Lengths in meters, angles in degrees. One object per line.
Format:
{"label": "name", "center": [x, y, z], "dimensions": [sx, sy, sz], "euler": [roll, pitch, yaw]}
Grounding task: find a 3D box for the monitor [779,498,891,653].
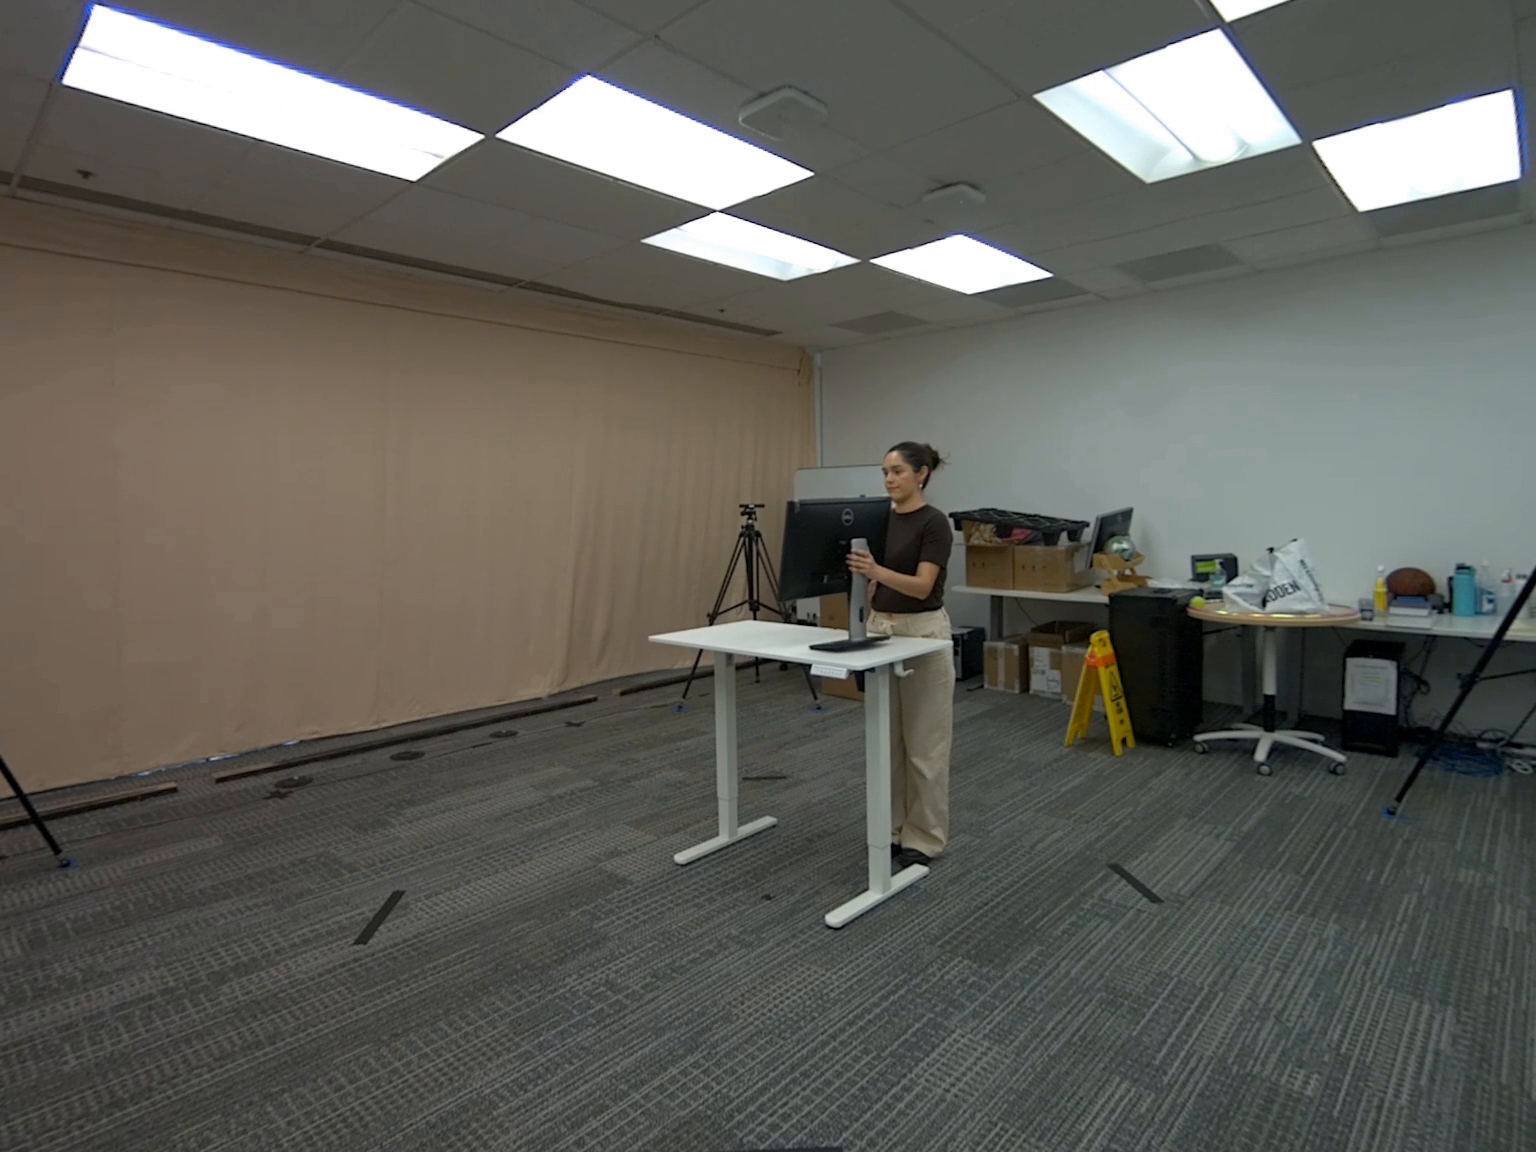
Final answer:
{"label": "monitor", "center": [0.276, -0.012, 2.972], "dimensions": [0.523, 0.522, 0.193], "euler": [-6, 2, -41]}
